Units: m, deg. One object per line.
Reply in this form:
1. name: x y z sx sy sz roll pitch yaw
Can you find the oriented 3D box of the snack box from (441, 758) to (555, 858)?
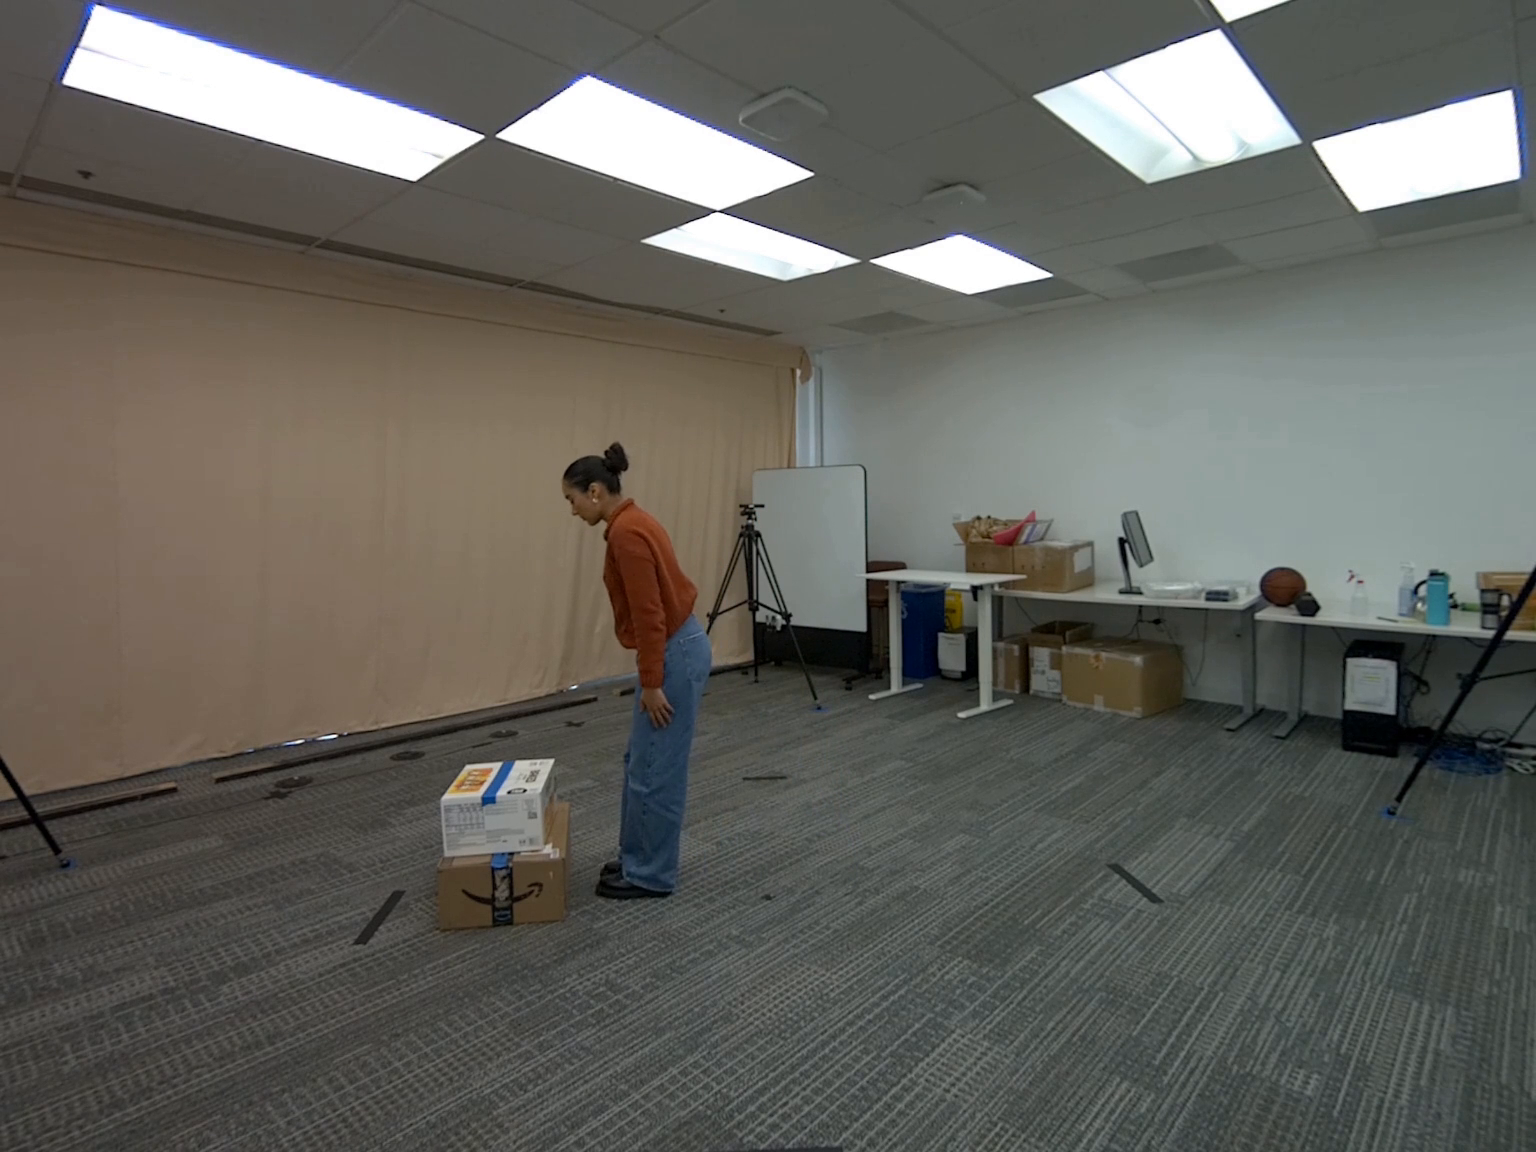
1. snack box: -0.971 0.840 3.075 0.339 0.205 0.408 -3 4 -6
